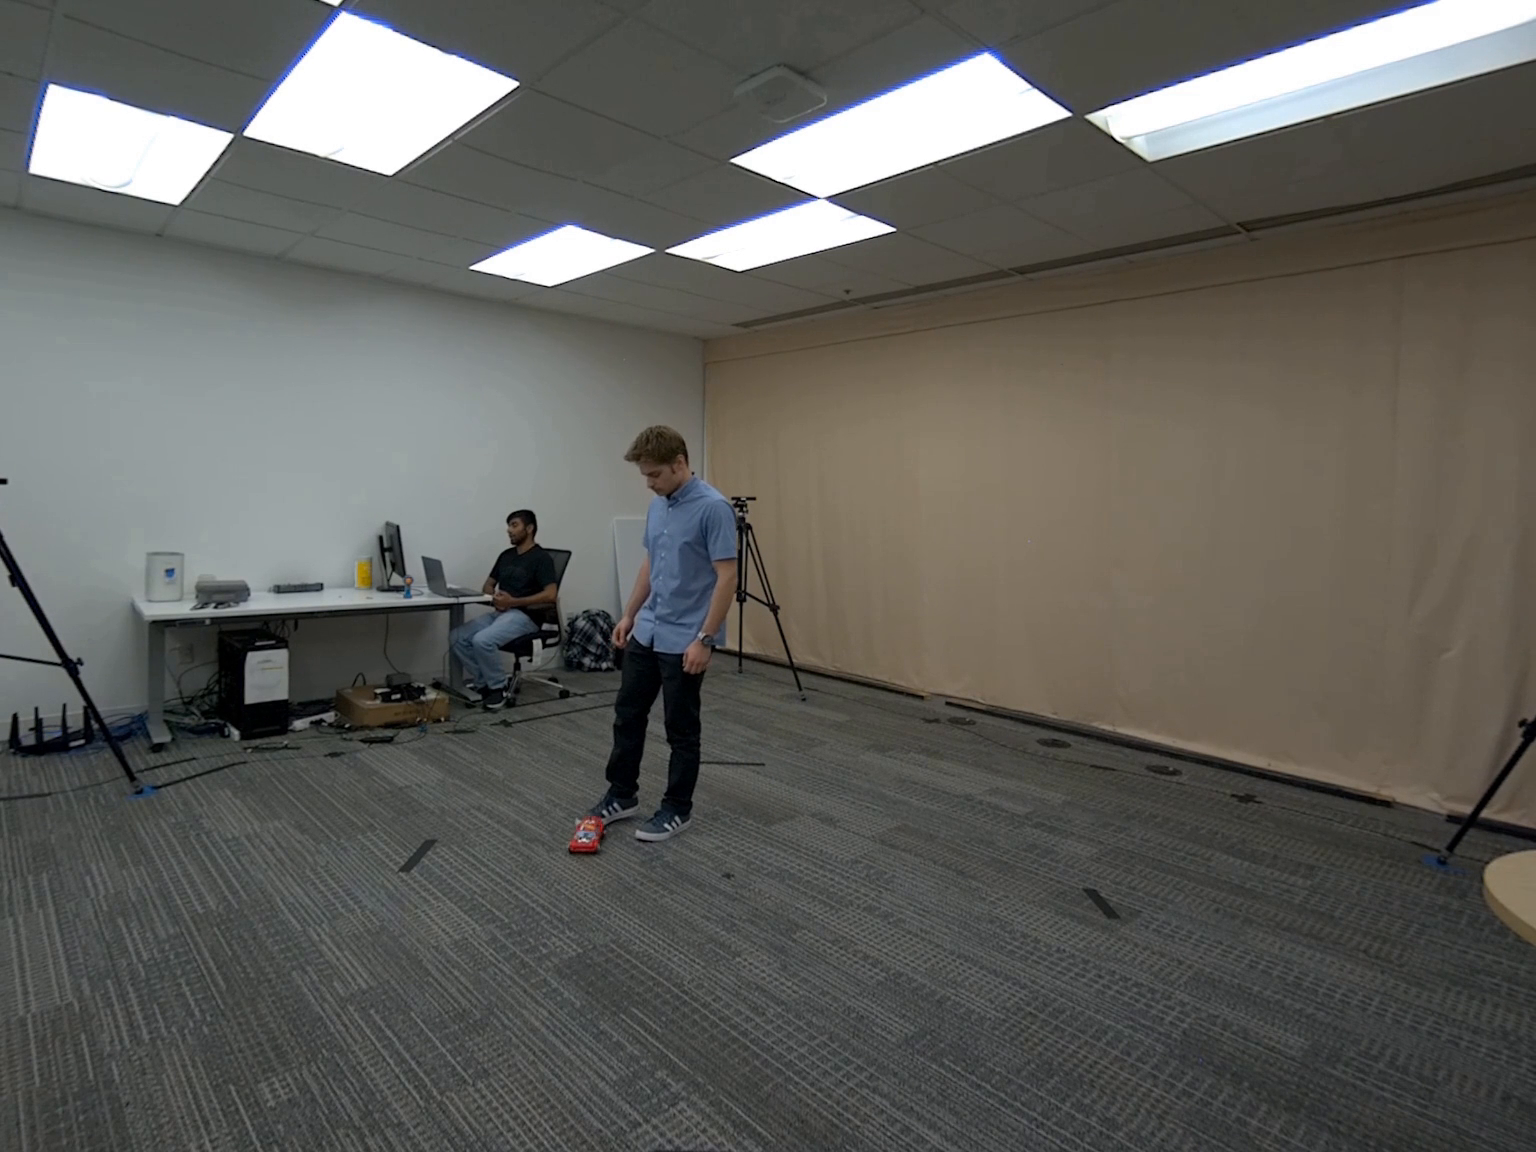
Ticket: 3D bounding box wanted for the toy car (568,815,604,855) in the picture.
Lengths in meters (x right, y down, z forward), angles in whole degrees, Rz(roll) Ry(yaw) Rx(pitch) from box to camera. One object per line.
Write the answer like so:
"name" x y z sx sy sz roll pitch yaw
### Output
"toy car" -0.732 1.040 3.360 0.130 0.082 0.258 0 16 -2
